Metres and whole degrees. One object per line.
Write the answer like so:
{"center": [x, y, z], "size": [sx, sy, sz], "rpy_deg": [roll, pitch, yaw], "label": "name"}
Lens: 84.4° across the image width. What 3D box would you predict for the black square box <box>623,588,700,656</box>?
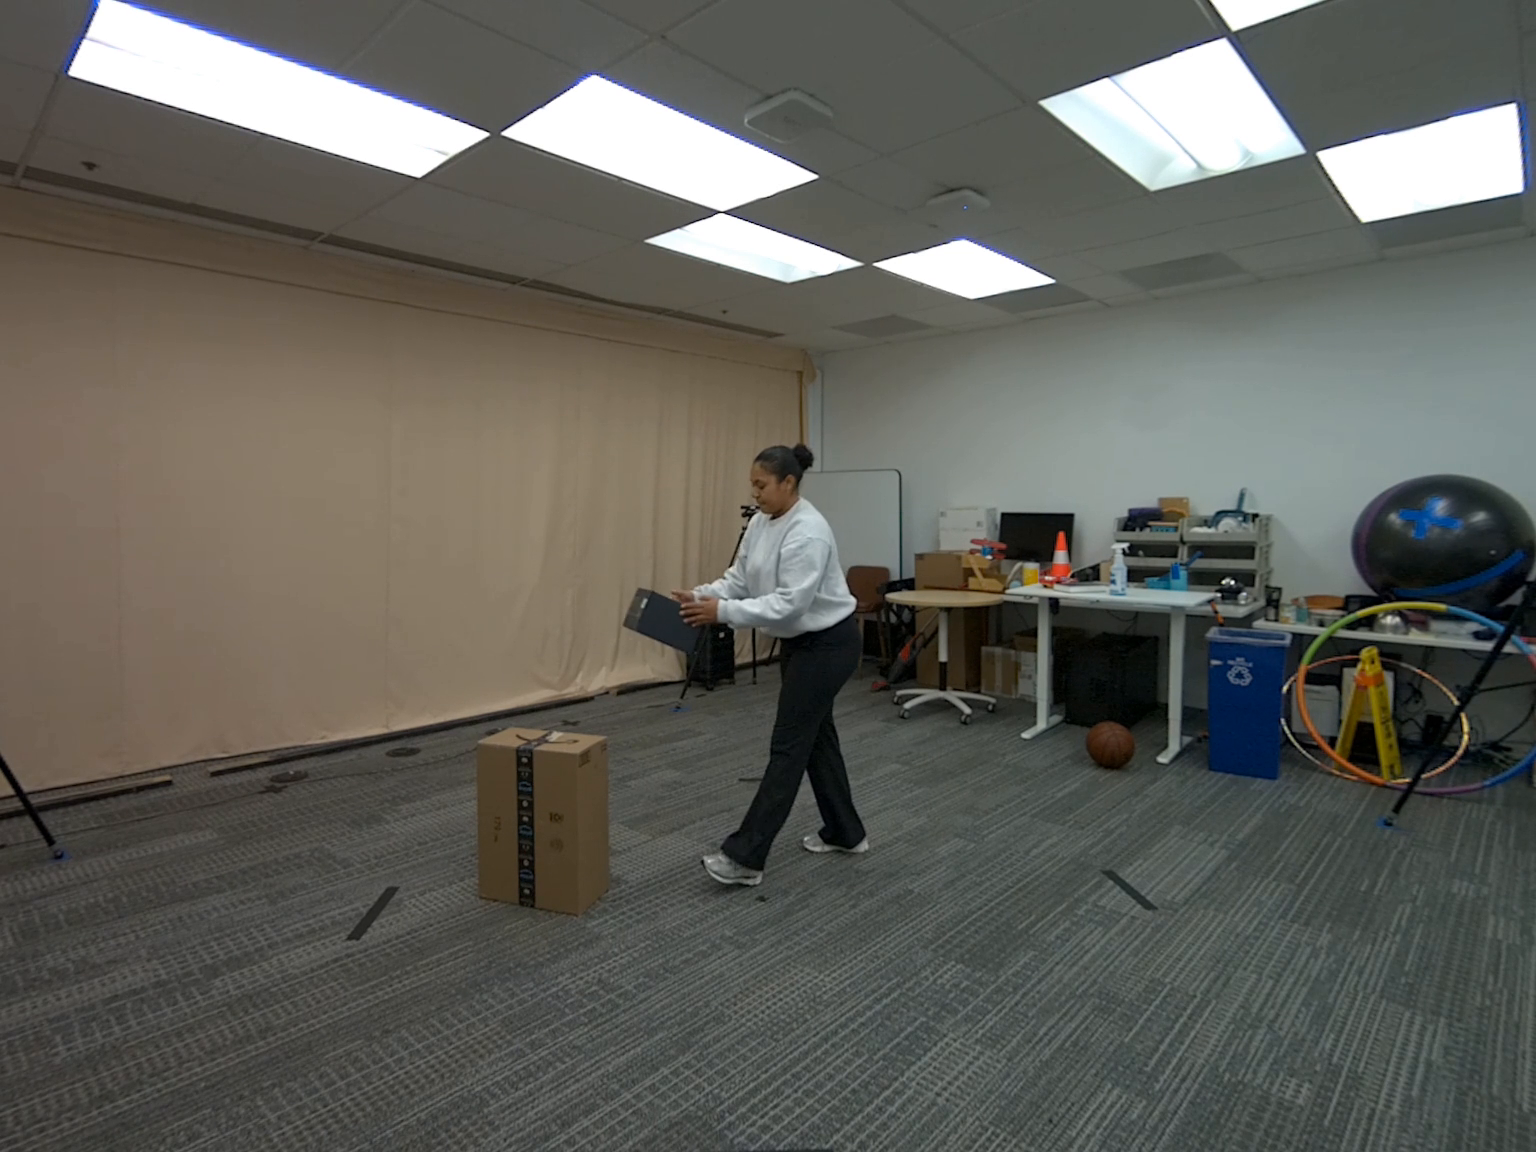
{"center": [-0.377, 0.184, 3.082], "size": [0.223, 0.156, 0.221], "rpy_deg": [24, -7, -19], "label": "black square box"}
